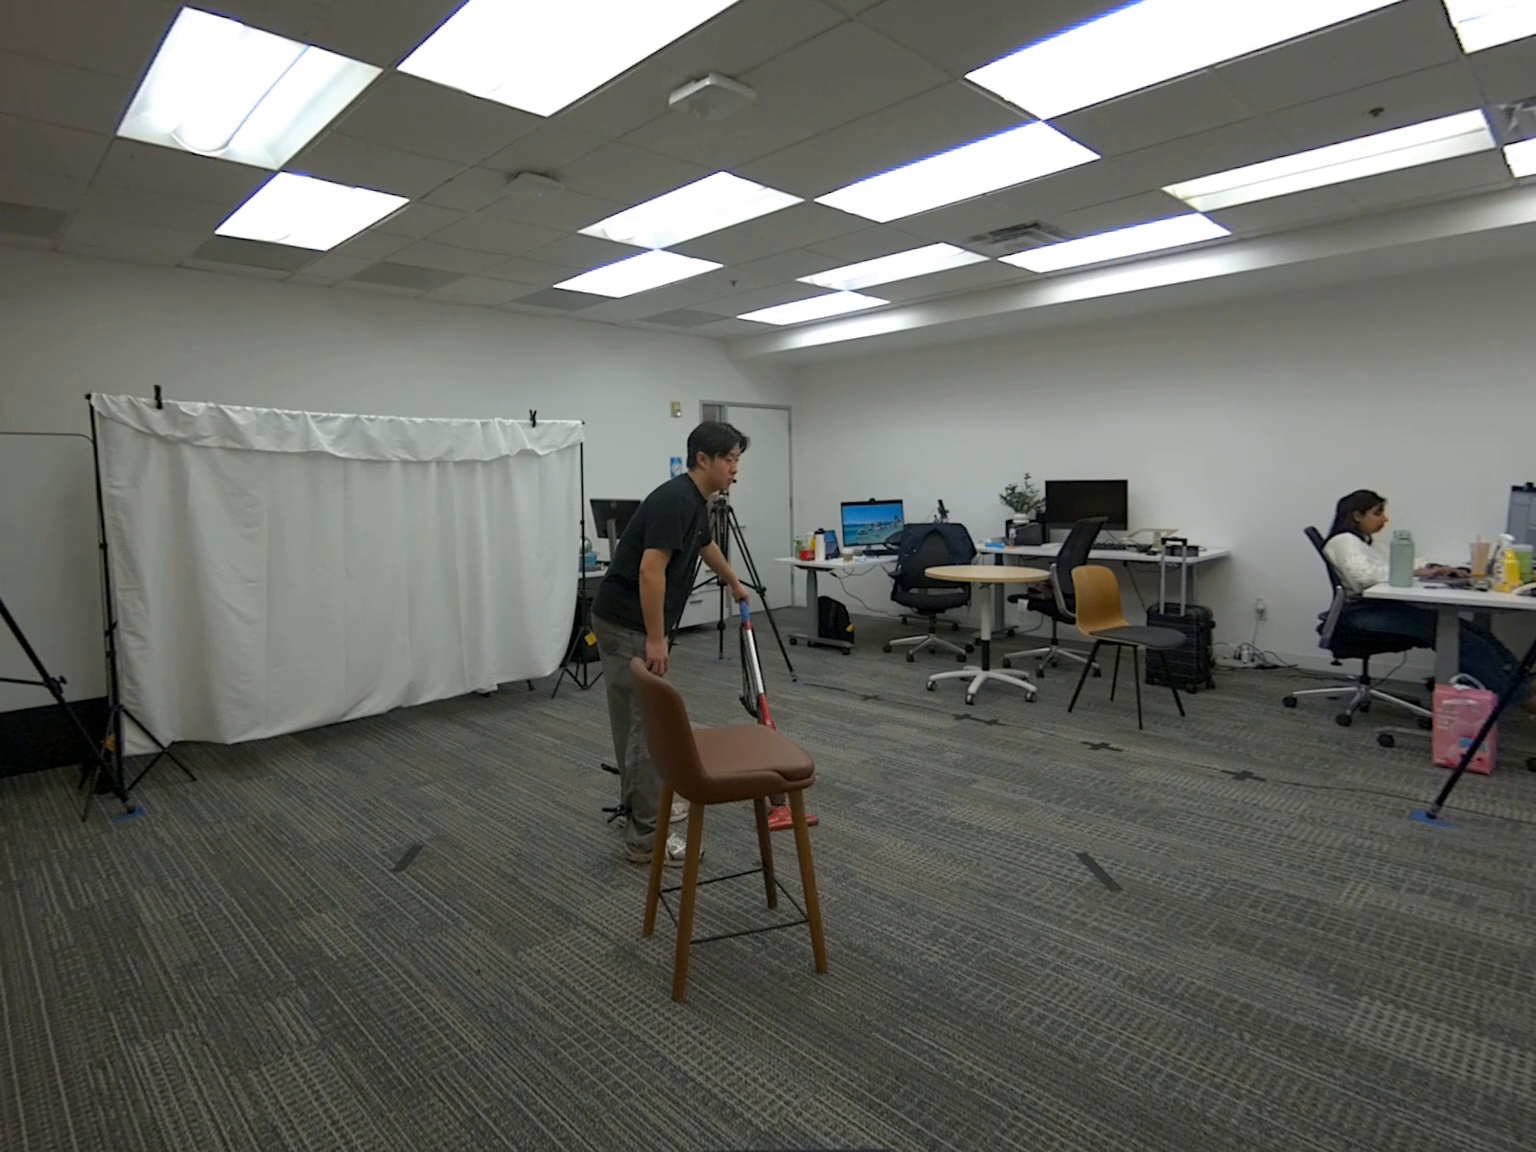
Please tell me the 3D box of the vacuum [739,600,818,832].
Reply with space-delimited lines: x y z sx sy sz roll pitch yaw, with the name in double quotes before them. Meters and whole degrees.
"vacuum" -0.039 0.545 3.712 0.248 1.078 0.142 -2 -30 -20
